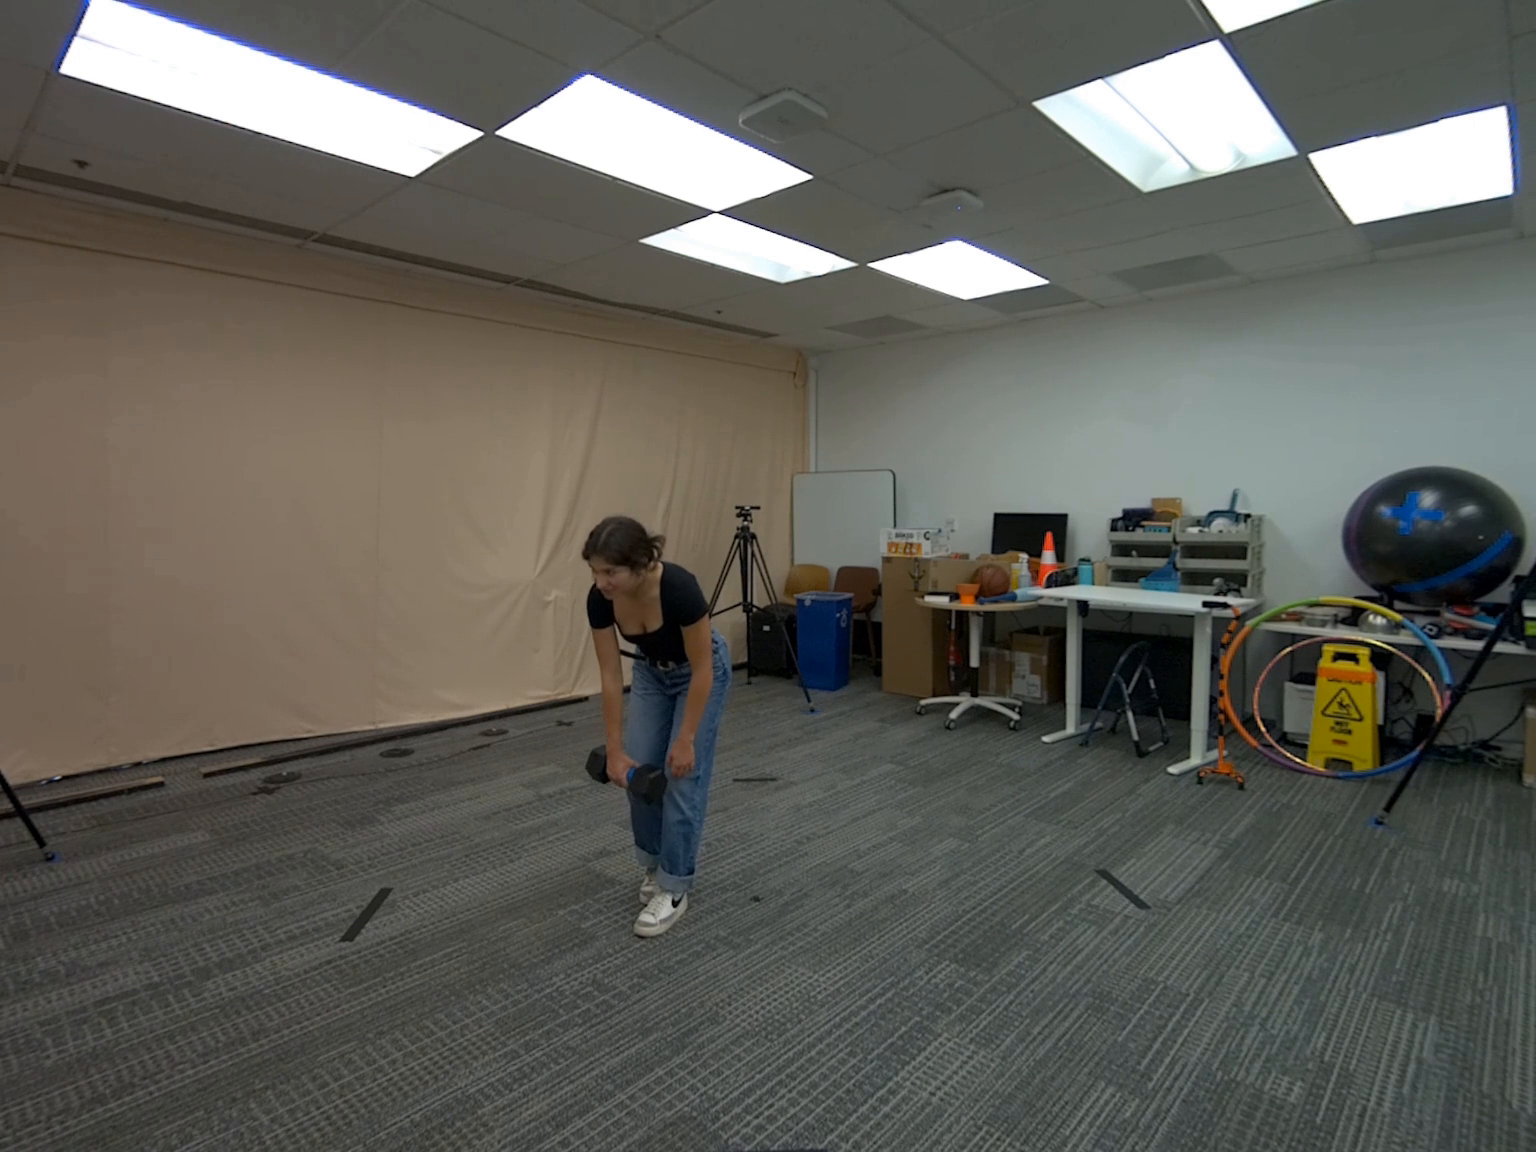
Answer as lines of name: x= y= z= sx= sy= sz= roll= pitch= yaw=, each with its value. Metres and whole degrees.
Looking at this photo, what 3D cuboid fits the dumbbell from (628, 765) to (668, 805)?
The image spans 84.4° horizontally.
dumbbell: x=-0.467 y=0.662 z=2.799 sx=0.303 sy=0.119 sz=0.108 roll=9 pitch=45 yaw=37
